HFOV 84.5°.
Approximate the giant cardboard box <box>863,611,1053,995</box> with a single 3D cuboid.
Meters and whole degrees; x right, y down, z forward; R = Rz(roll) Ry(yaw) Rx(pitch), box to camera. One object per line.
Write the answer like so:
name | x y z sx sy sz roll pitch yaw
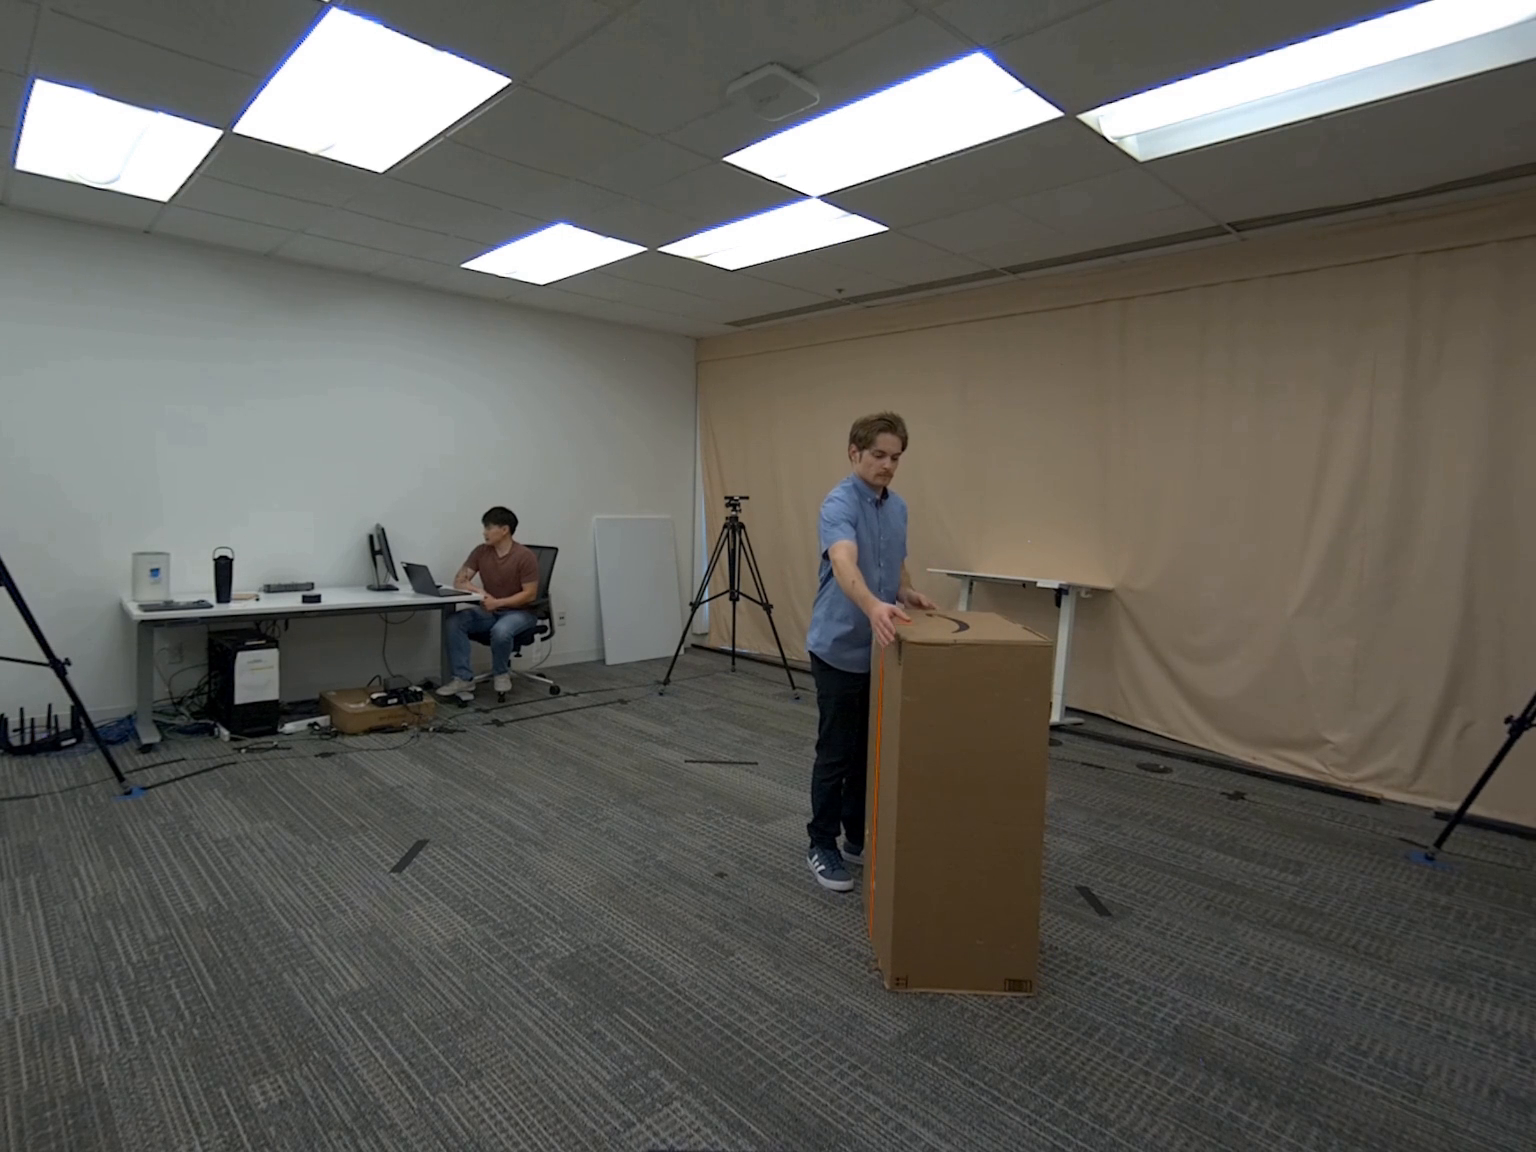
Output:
giant cardboard box | 0.556 0.656 2.632 0.427 1.023 0.578 1 4 1
